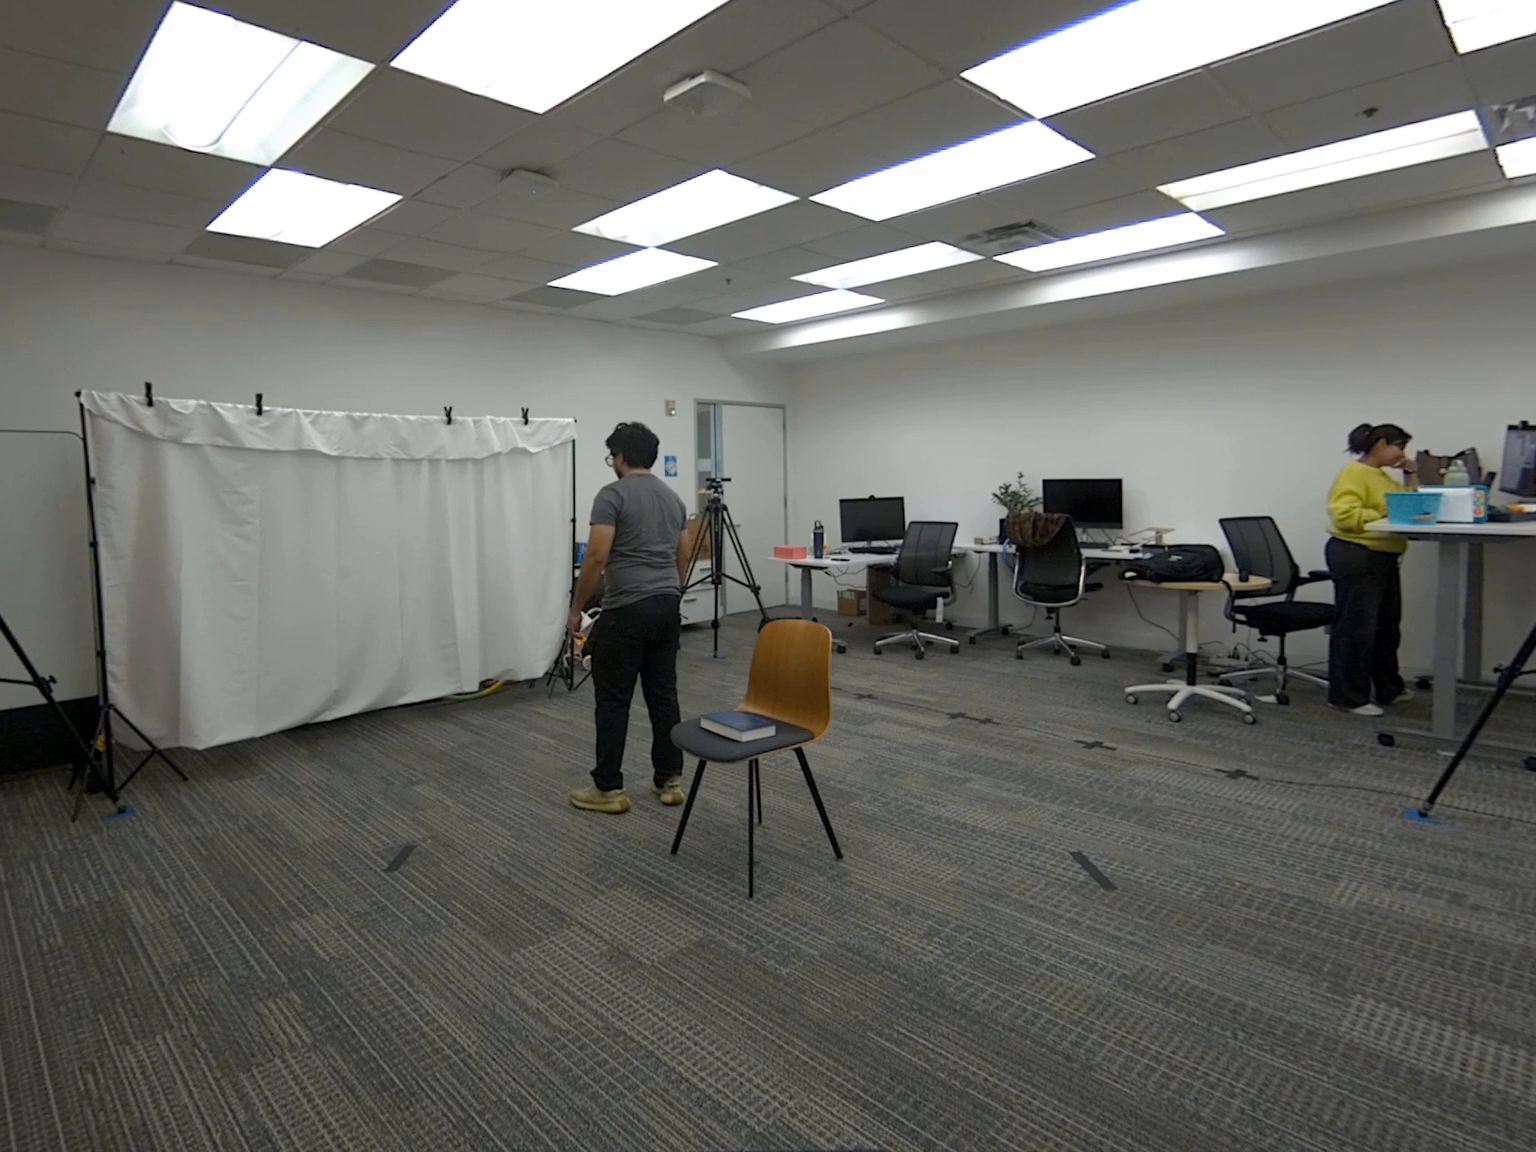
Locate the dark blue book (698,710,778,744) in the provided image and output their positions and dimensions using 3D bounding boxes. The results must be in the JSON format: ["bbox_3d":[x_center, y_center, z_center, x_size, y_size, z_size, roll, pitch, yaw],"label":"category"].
[{"bbox_3d":[-0.112,0.540,3.081,0.159,0.045,0.253,-2,5,-43],"label":"dark blue book"}]
